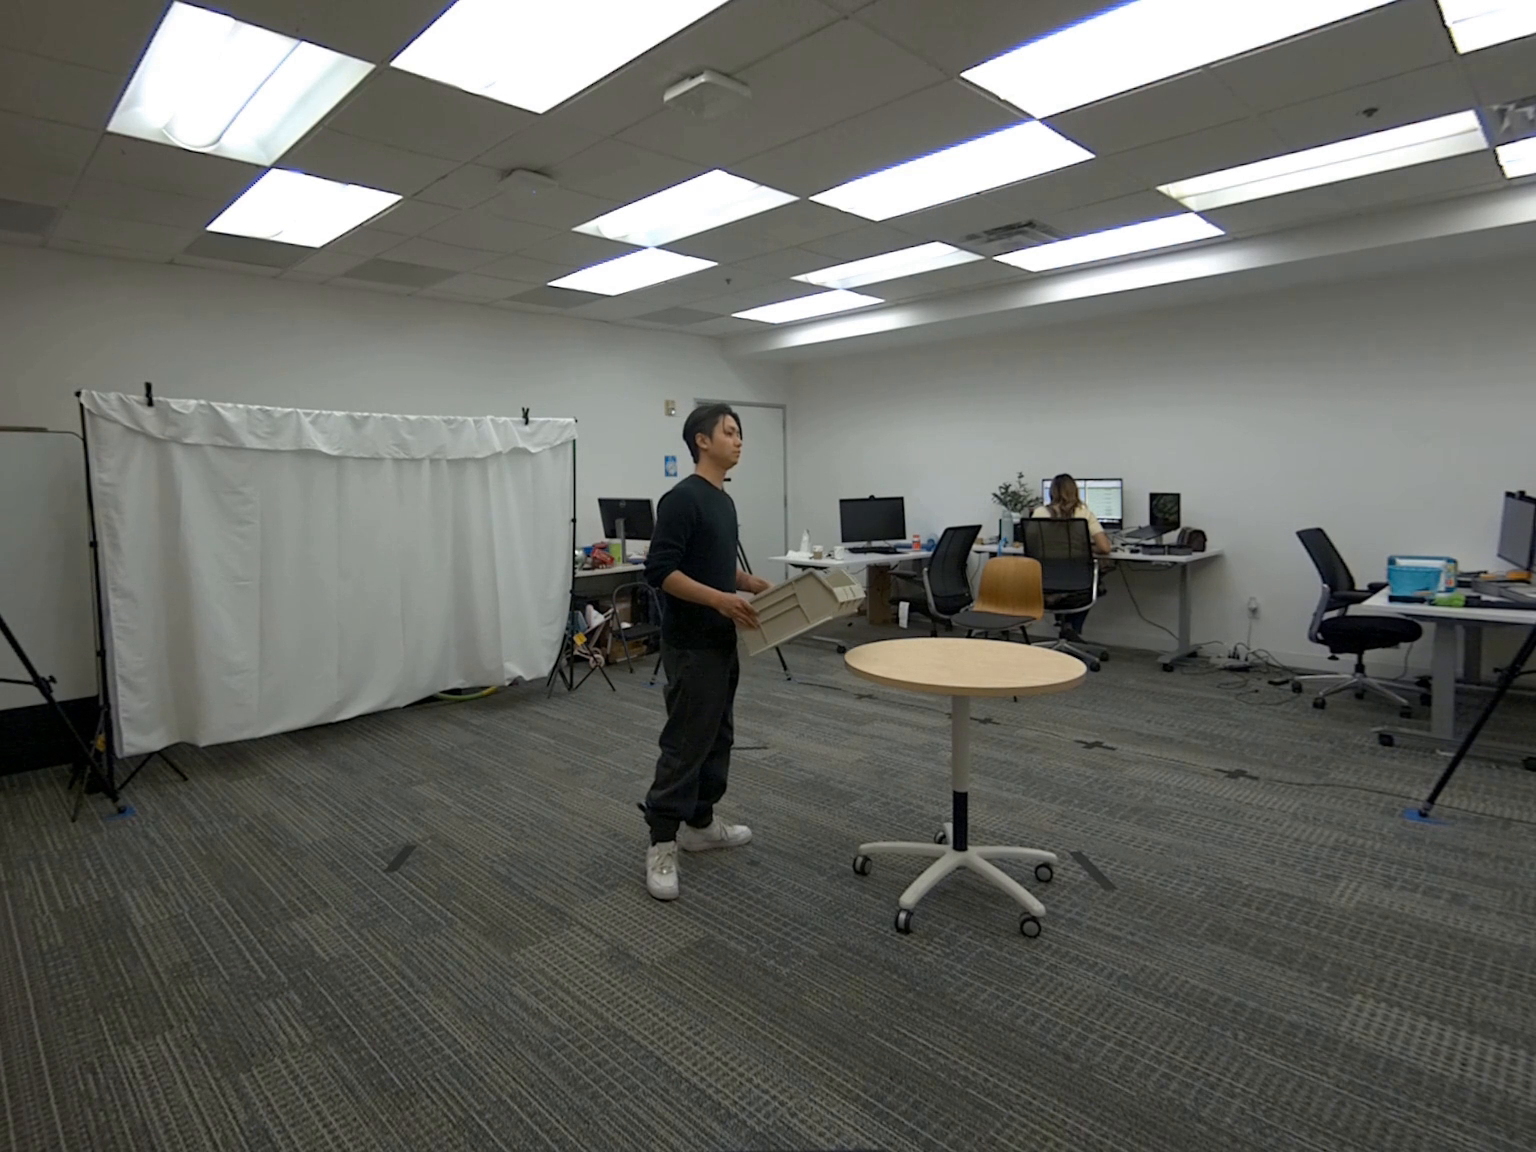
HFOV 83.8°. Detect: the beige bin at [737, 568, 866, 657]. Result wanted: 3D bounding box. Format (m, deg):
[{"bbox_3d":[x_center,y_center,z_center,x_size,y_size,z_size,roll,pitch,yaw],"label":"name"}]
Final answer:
[{"bbox_3d":[0.115,0.115,3.023,0.380,0.191,0.415,-27,-7,17],"label":"beige bin"}]
